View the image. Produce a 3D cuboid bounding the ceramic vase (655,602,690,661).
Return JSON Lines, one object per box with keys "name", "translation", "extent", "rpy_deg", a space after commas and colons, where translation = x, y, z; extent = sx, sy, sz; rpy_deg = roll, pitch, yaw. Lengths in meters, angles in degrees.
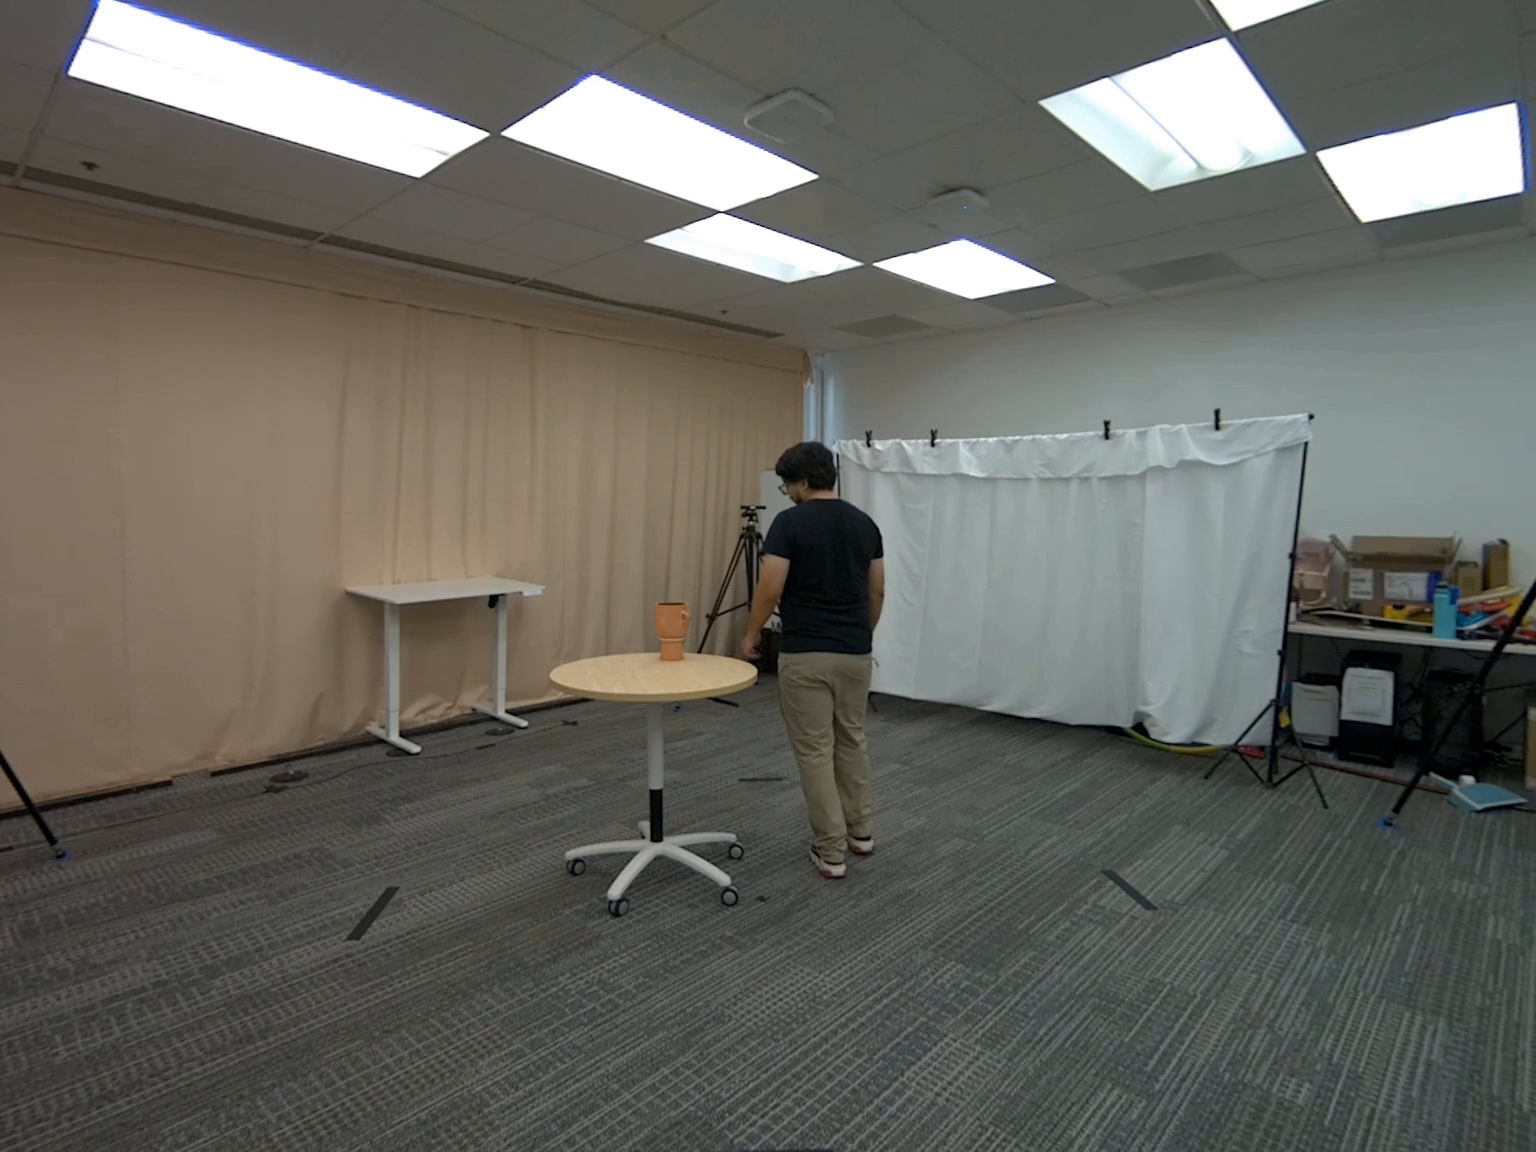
{"name": "ceramic vase", "translation": [-0.383, 0.225, 3.372], "extent": [0.133, 0.219, 0.161], "rpy_deg": [-1, 4, -10]}
